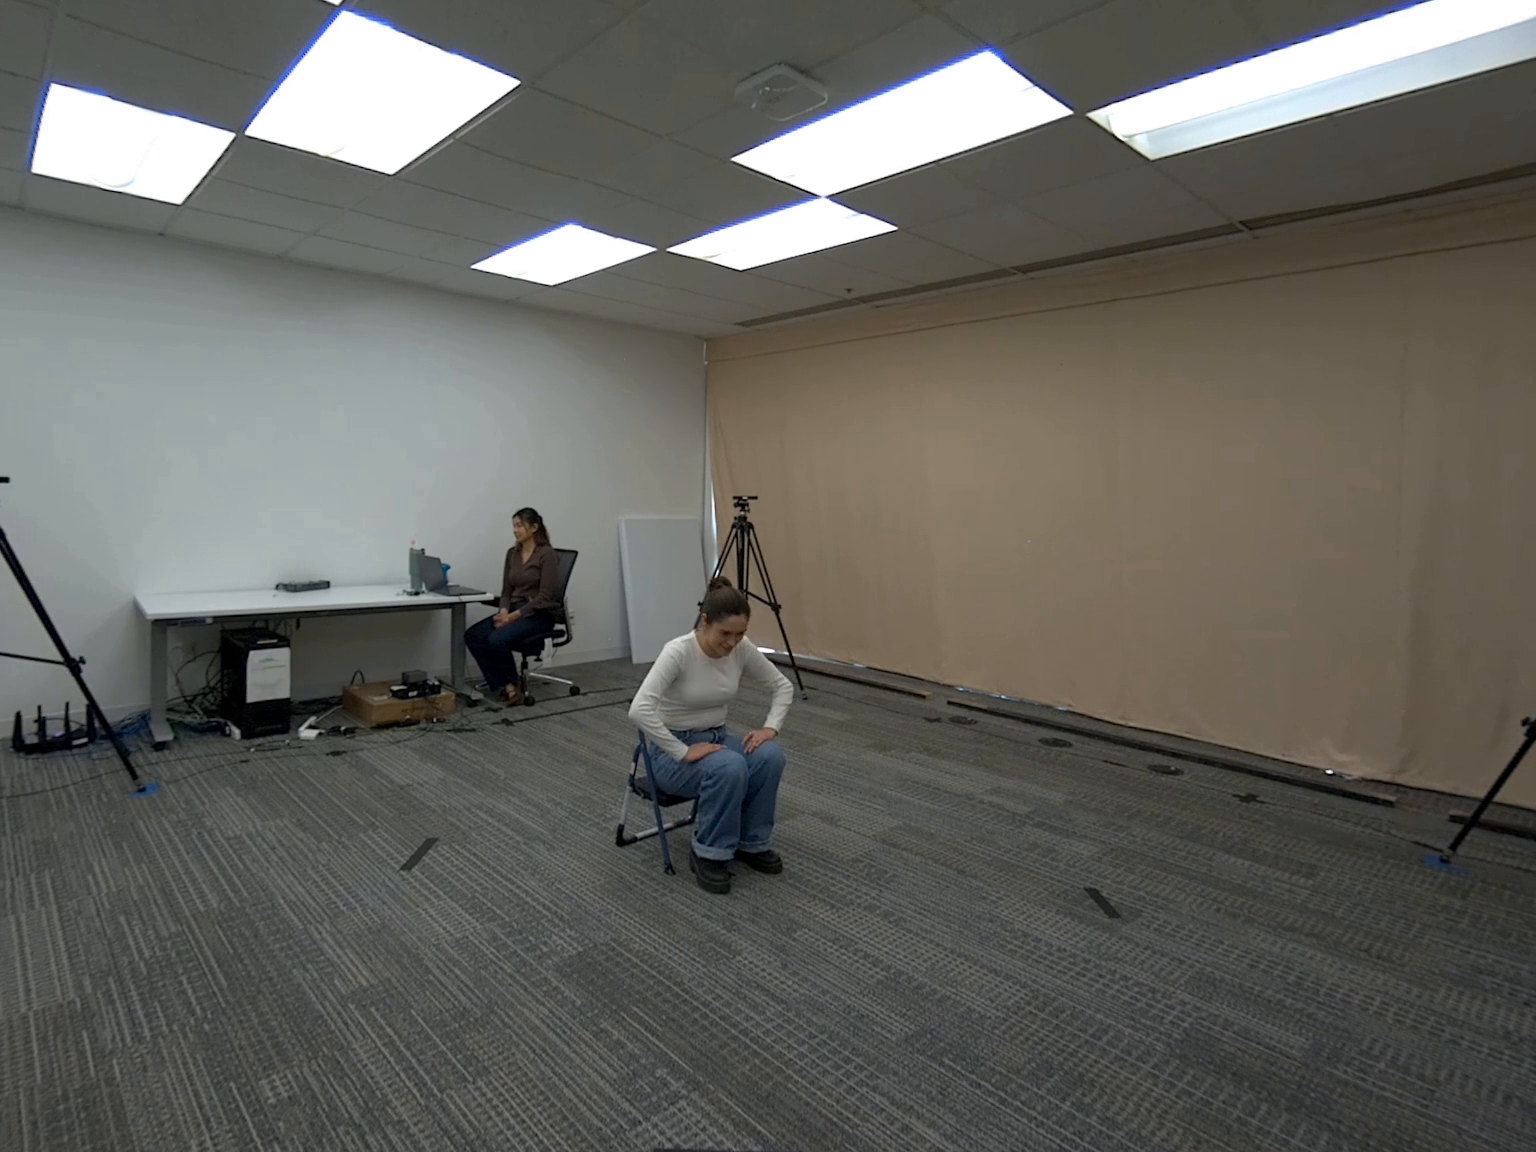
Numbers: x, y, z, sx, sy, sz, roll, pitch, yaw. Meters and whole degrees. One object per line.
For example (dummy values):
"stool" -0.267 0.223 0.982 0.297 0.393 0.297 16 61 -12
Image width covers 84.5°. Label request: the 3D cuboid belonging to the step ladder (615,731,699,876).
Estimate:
"step ladder" -0.341 0.775 3.346 0.358 0.604 0.421 5 5 44
